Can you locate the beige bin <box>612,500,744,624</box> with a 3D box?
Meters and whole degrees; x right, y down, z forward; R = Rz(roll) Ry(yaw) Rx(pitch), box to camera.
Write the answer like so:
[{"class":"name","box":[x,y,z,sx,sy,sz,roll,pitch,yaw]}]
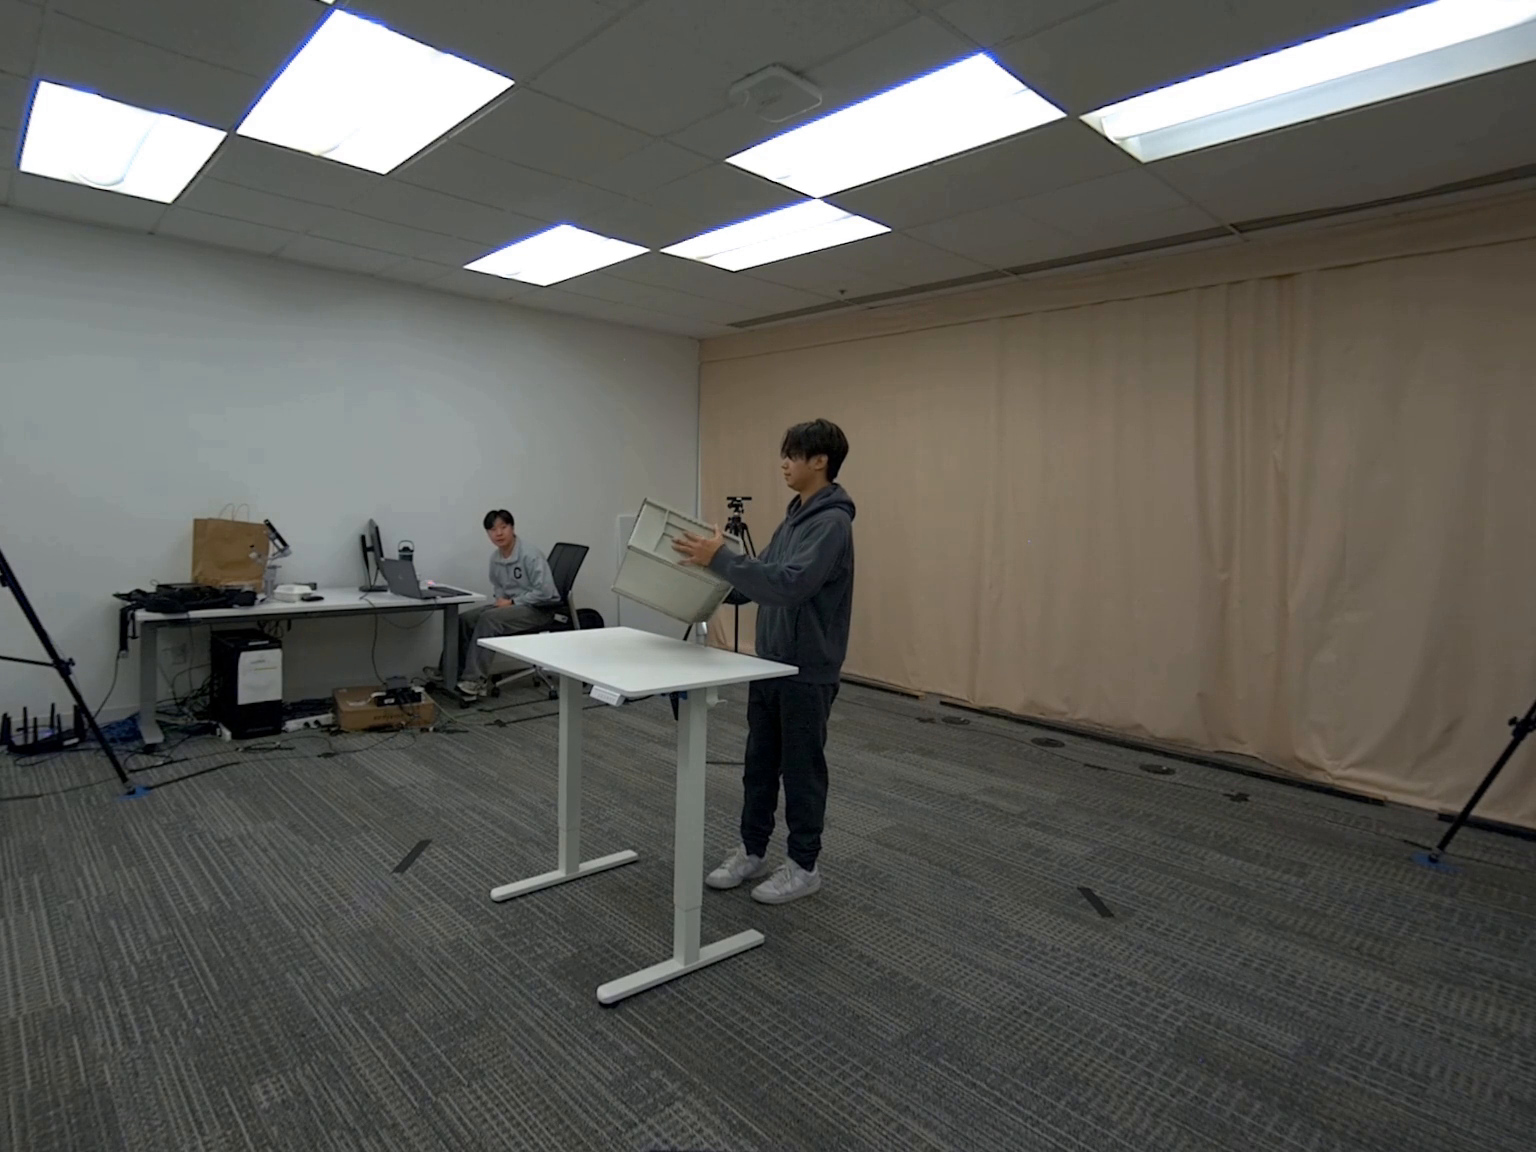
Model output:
[{"class":"beige bin","box":[-0.315,-0.029,2.855,0.375,0.191,0.421,24,-27,-7]}]
